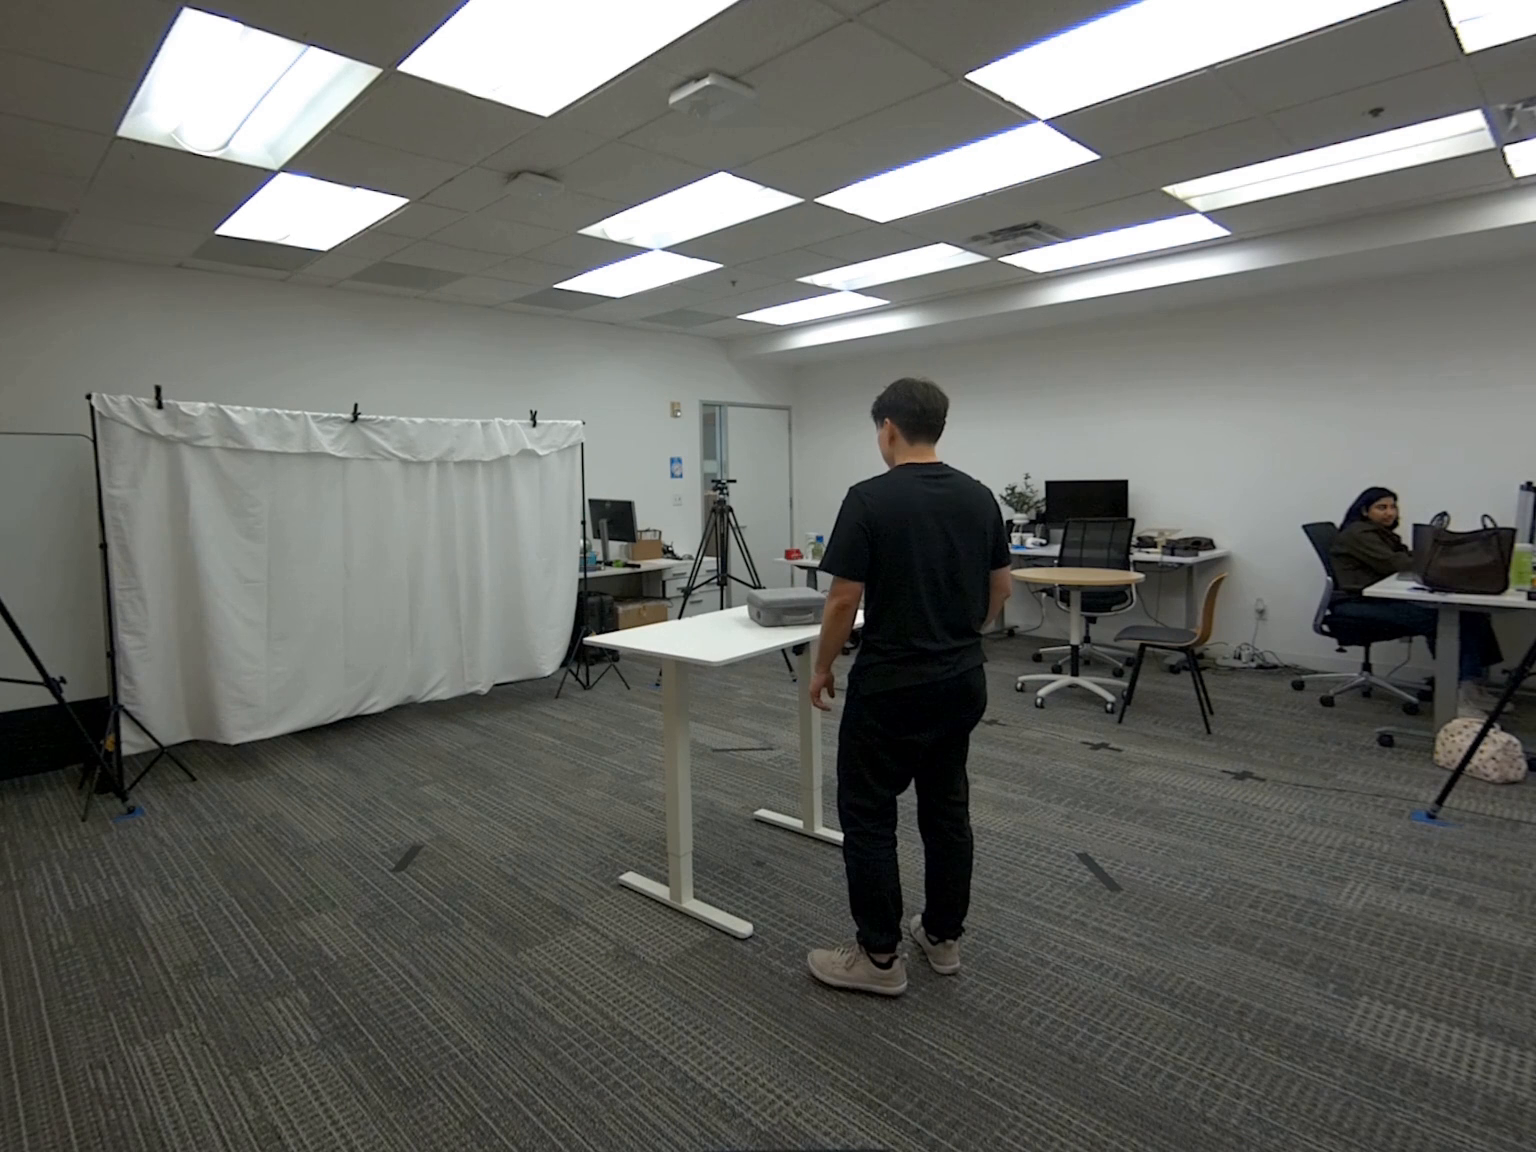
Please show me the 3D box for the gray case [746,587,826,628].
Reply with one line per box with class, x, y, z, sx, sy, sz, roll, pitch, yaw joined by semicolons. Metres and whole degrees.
gray case;0.074;0.110;3.091;0.254;0.104;0.265;-2;7;-13
